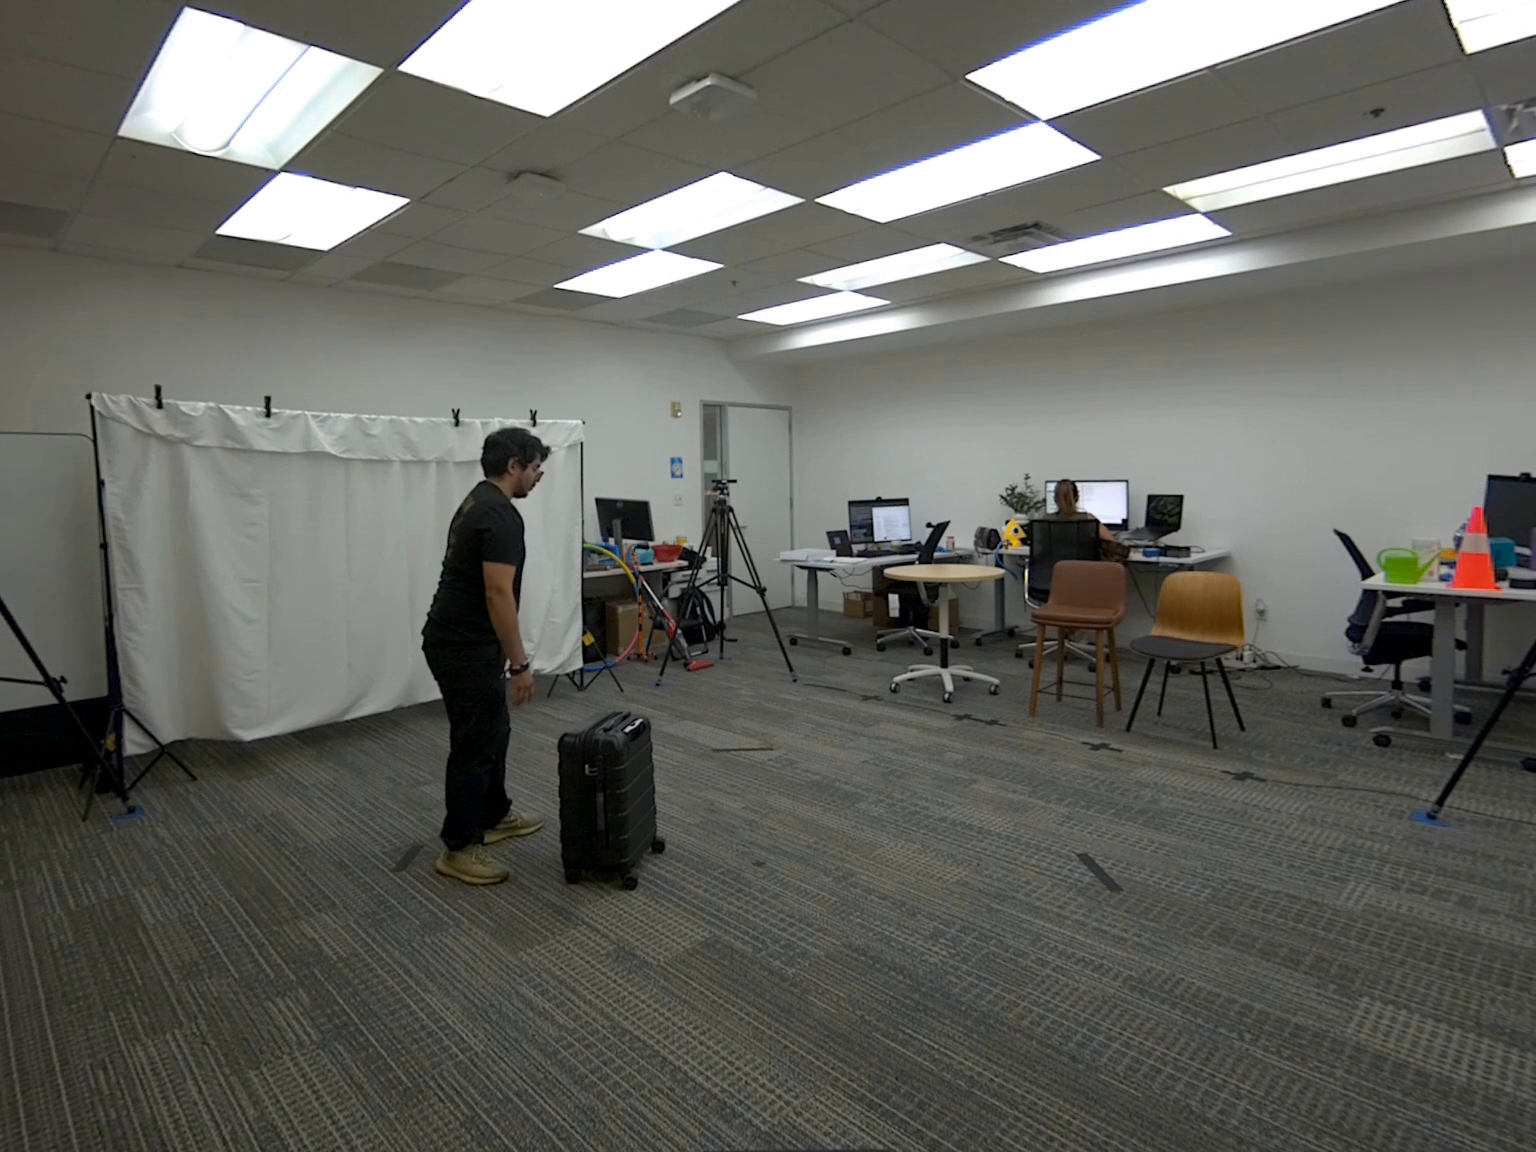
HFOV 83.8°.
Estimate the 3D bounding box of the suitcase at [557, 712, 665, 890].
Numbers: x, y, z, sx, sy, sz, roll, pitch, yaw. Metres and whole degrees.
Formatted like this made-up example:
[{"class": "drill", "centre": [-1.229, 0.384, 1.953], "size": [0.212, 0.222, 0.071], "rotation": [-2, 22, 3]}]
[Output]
[{"class": "suitcase", "centre": [-0.576, 0.779, 3.088], "size": [0.252, 0.547, 0.372], "rotation": [-2, 4, 13]}]
